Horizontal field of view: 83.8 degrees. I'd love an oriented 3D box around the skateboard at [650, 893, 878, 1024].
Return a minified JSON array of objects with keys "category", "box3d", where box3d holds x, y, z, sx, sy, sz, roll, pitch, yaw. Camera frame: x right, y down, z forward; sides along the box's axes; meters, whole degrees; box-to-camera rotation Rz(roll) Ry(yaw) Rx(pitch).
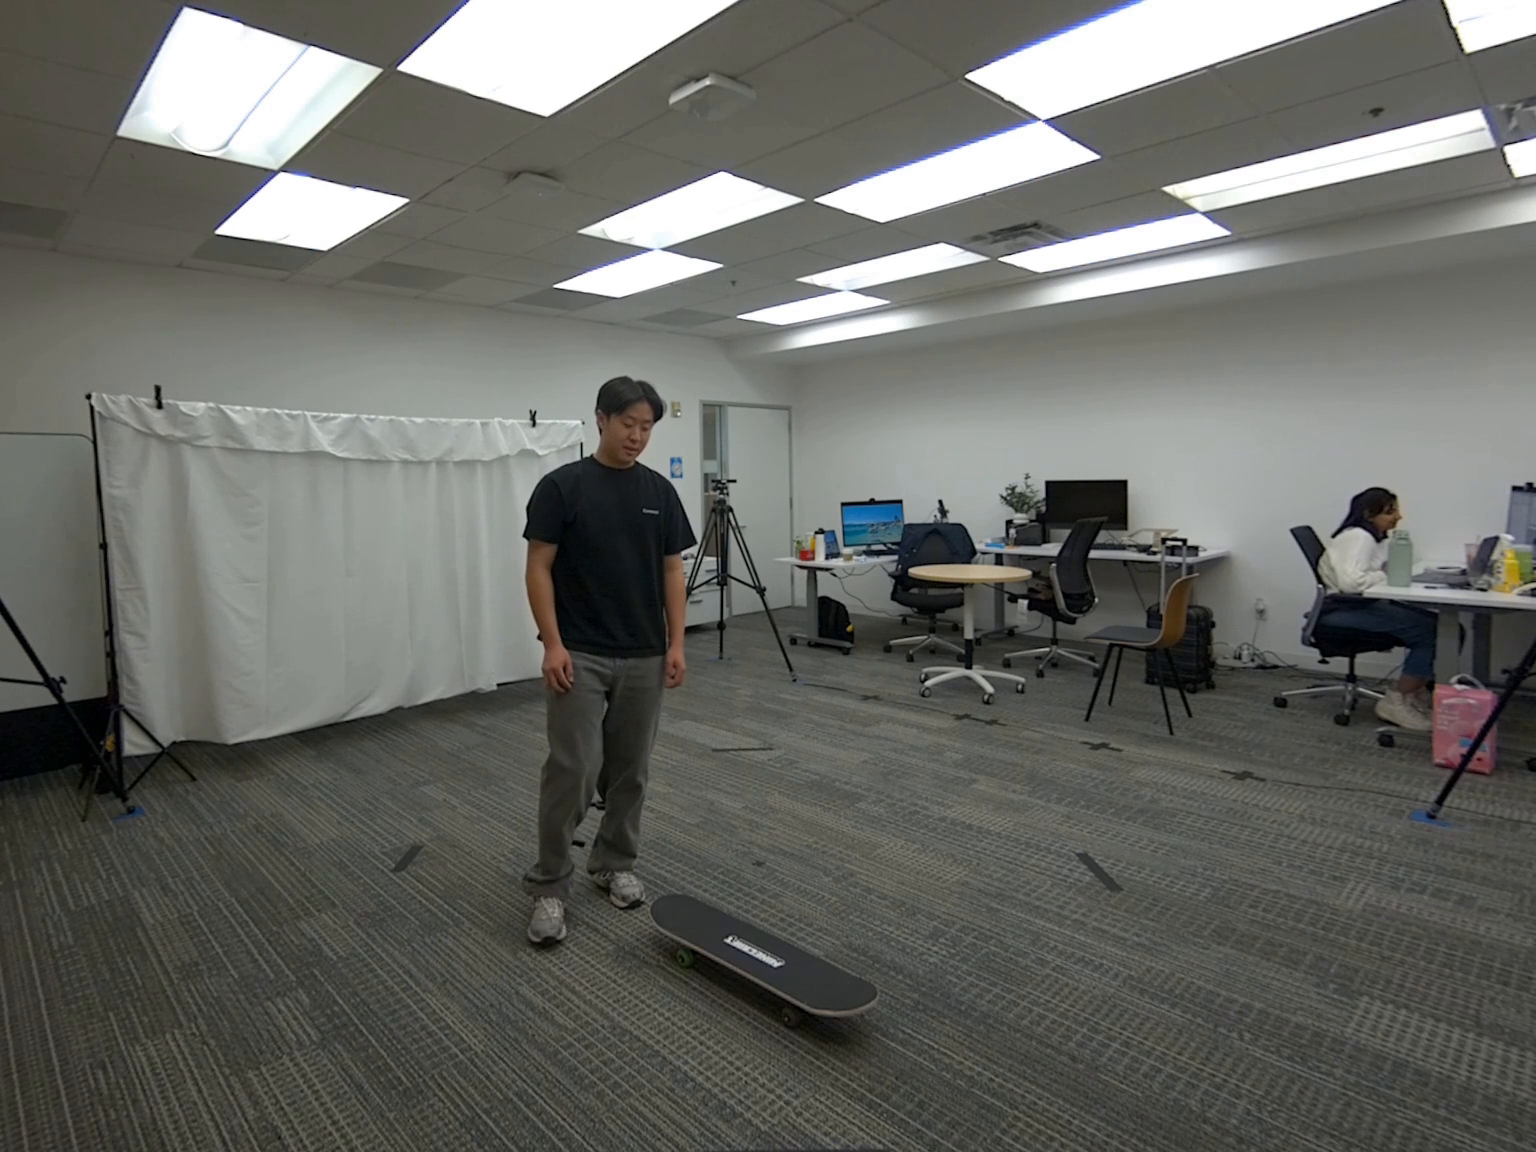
[{"category":"skateboard","box3d":[-0.034,1.078,2.378,0.810,0.110,0.188,5,8,43]}]
